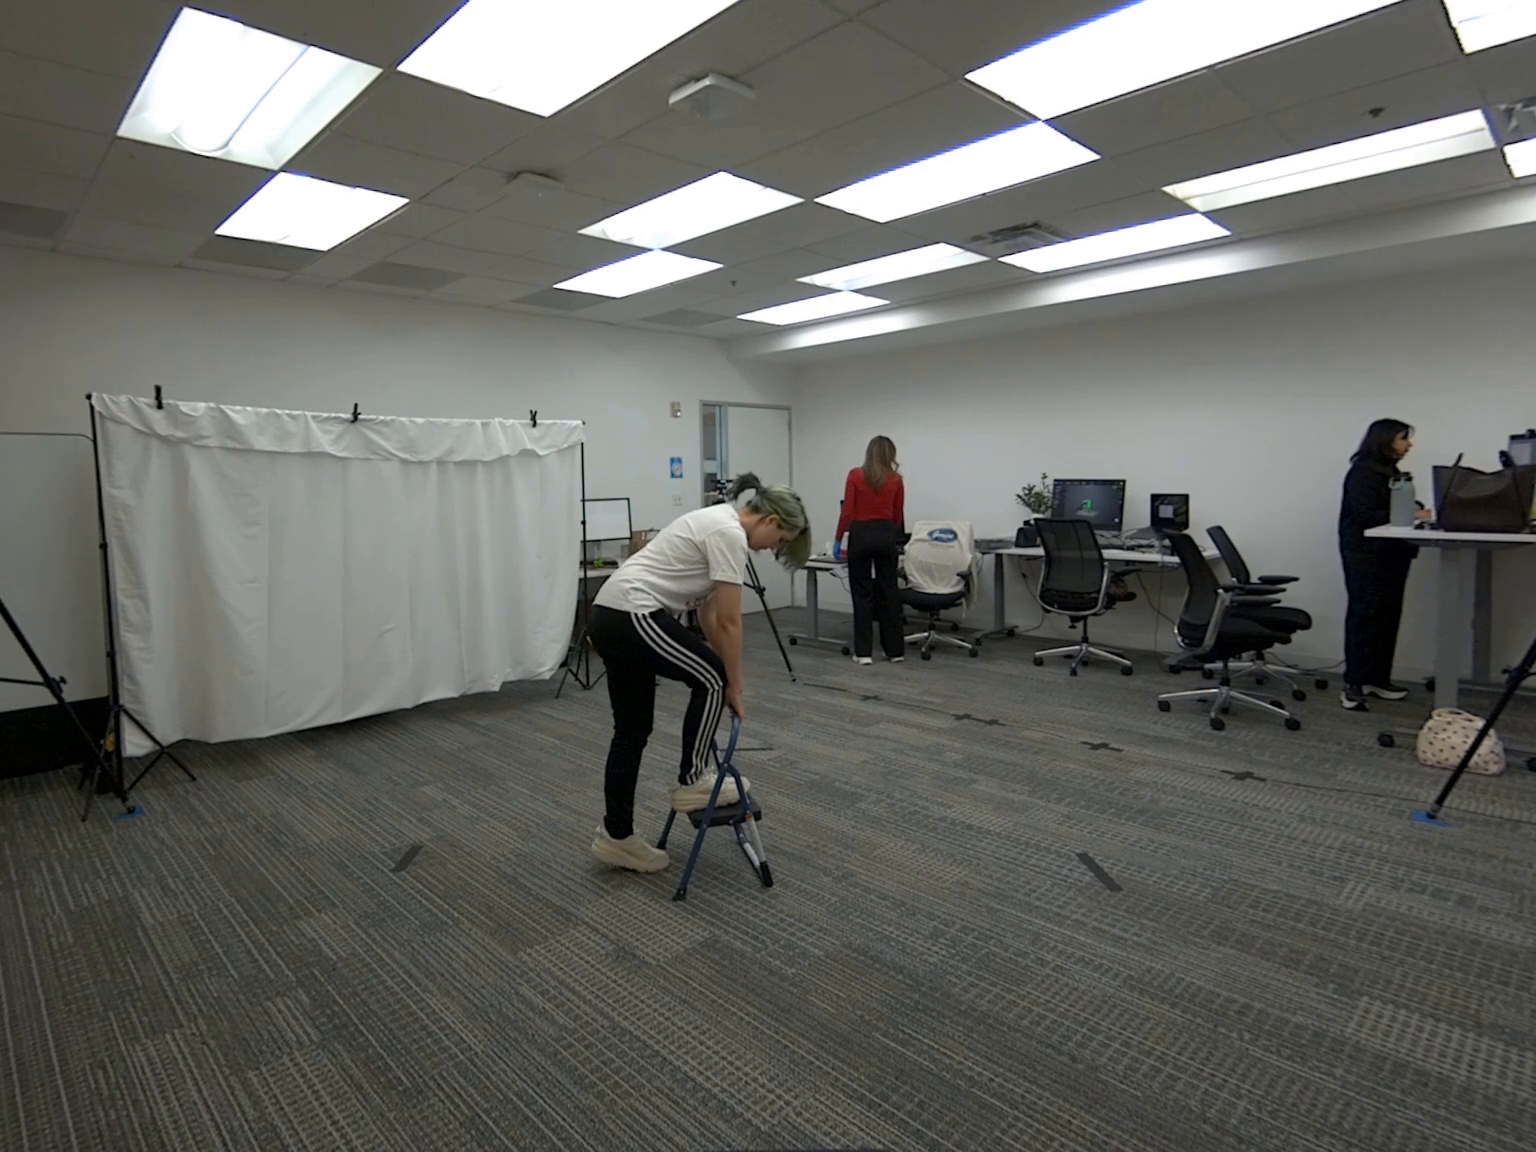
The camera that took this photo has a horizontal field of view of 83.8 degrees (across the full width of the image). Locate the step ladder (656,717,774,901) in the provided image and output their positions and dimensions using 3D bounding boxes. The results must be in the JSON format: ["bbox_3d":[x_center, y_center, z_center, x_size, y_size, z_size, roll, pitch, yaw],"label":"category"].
[{"bbox_3d":[-0.205,0.754,3.072,0.344,0.604,0.438,-2,5,-16],"label":"step ladder"}]
